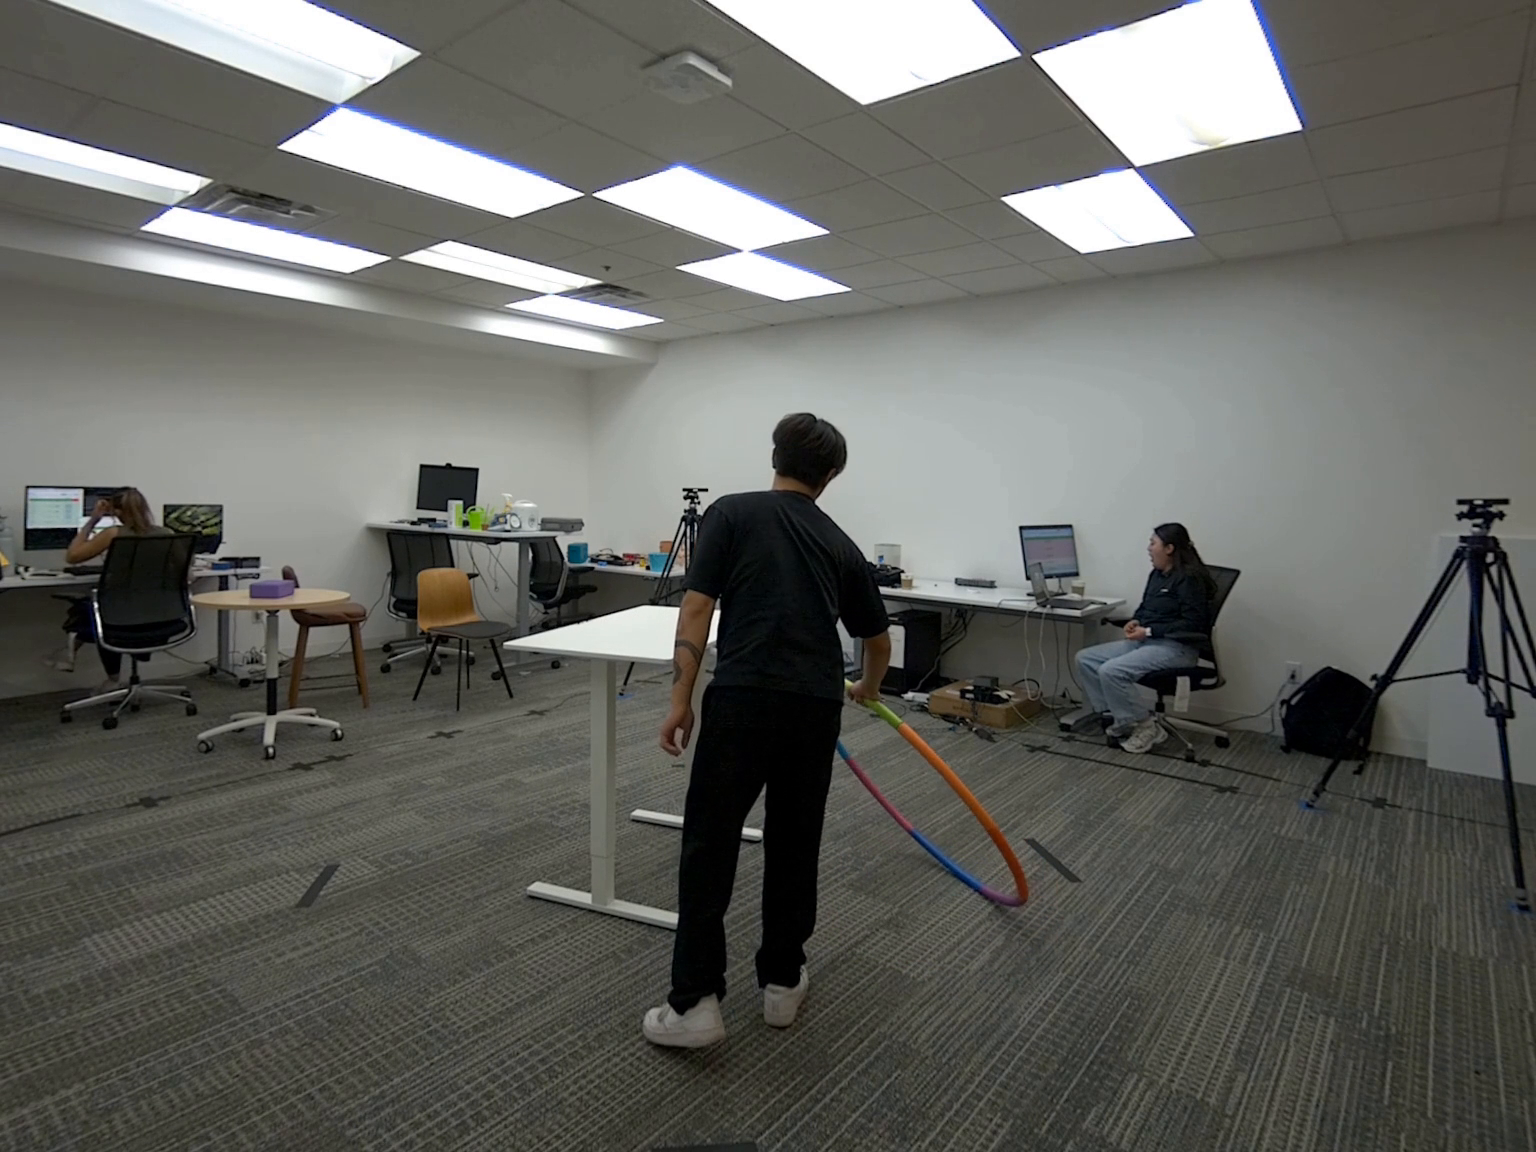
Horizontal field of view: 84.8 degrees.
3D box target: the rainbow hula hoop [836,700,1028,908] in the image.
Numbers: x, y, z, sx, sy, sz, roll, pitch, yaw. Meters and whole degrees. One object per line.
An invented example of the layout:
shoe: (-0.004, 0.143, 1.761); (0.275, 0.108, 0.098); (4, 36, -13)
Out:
rainbow hula hoop: (0.467, 0.715, 2.911); (0.035, 0.958, 1.003); (-40, 17, -15)
